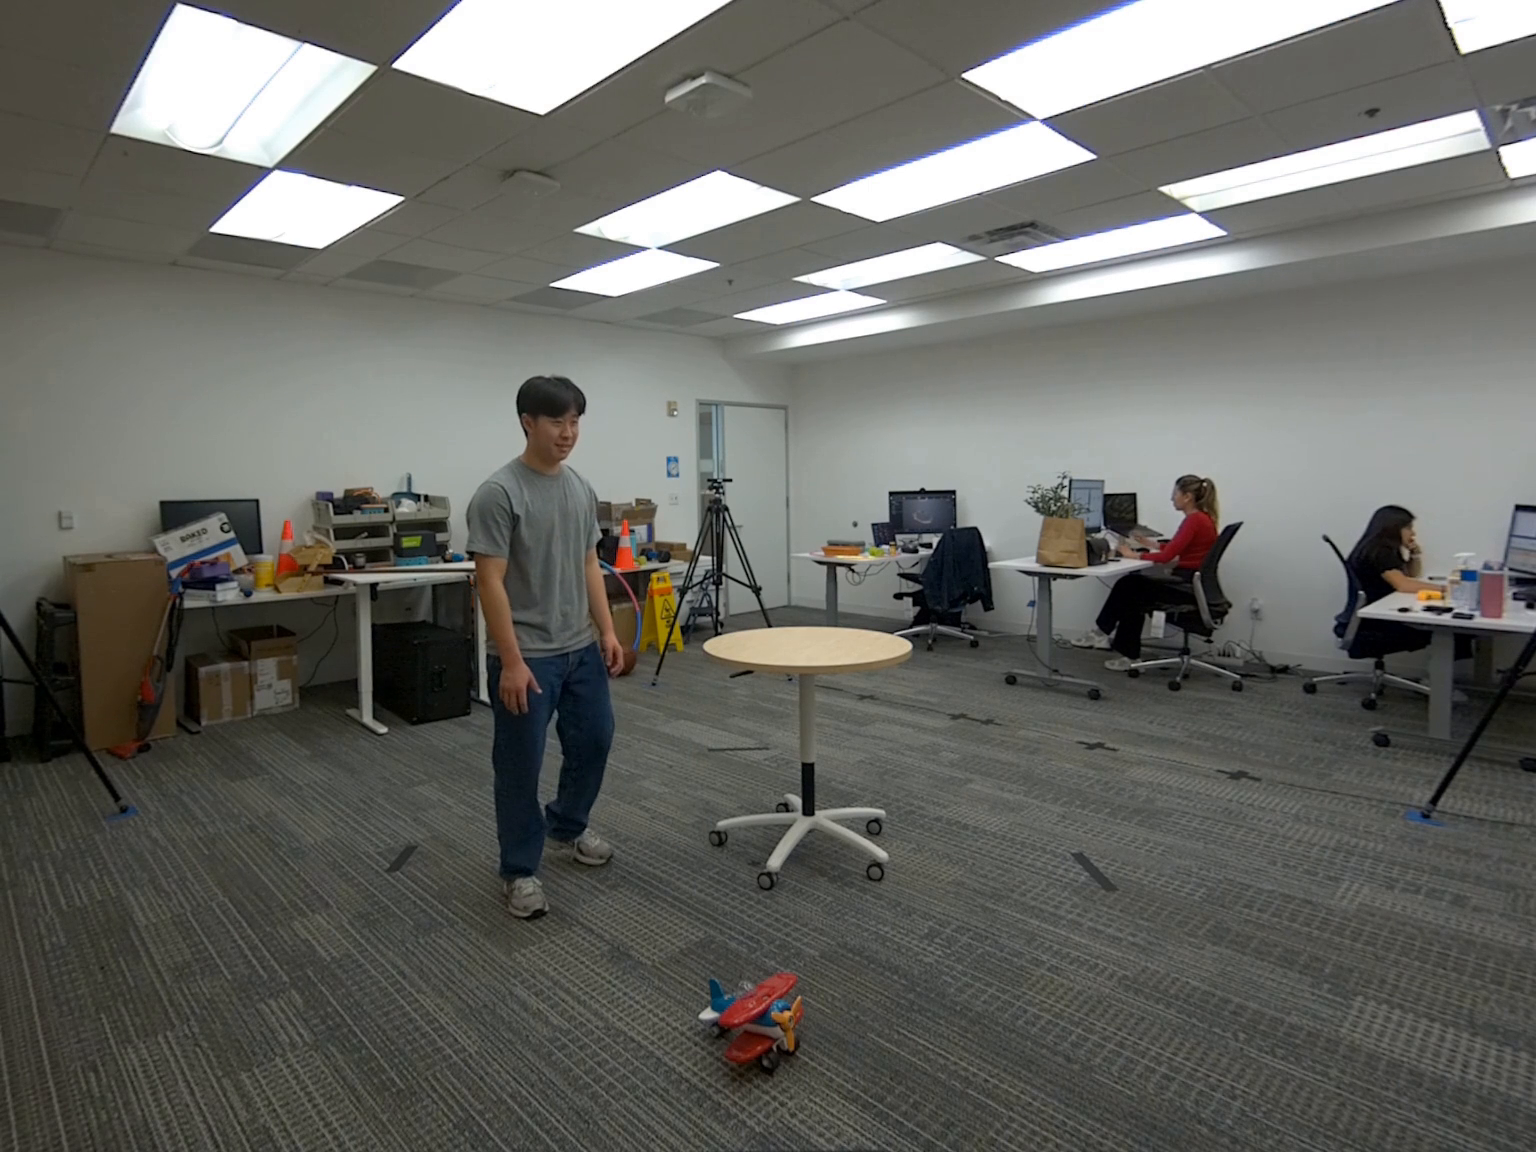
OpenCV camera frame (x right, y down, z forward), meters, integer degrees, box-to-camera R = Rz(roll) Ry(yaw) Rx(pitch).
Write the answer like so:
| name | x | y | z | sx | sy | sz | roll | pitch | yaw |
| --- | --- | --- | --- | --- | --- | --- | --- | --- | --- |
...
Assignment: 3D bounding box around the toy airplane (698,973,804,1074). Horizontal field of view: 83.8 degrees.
| name | x | y | z | sx | sy | sz | roll | pitch | yaw |
| --- | --- | --- | --- | --- | --- | --- | --- | --- | --- |
| toy airplane | -0.040 | 1.092 | 2.084 | 0.262 | 0.156 | 0.249 | 1 | 6 | 11 |
